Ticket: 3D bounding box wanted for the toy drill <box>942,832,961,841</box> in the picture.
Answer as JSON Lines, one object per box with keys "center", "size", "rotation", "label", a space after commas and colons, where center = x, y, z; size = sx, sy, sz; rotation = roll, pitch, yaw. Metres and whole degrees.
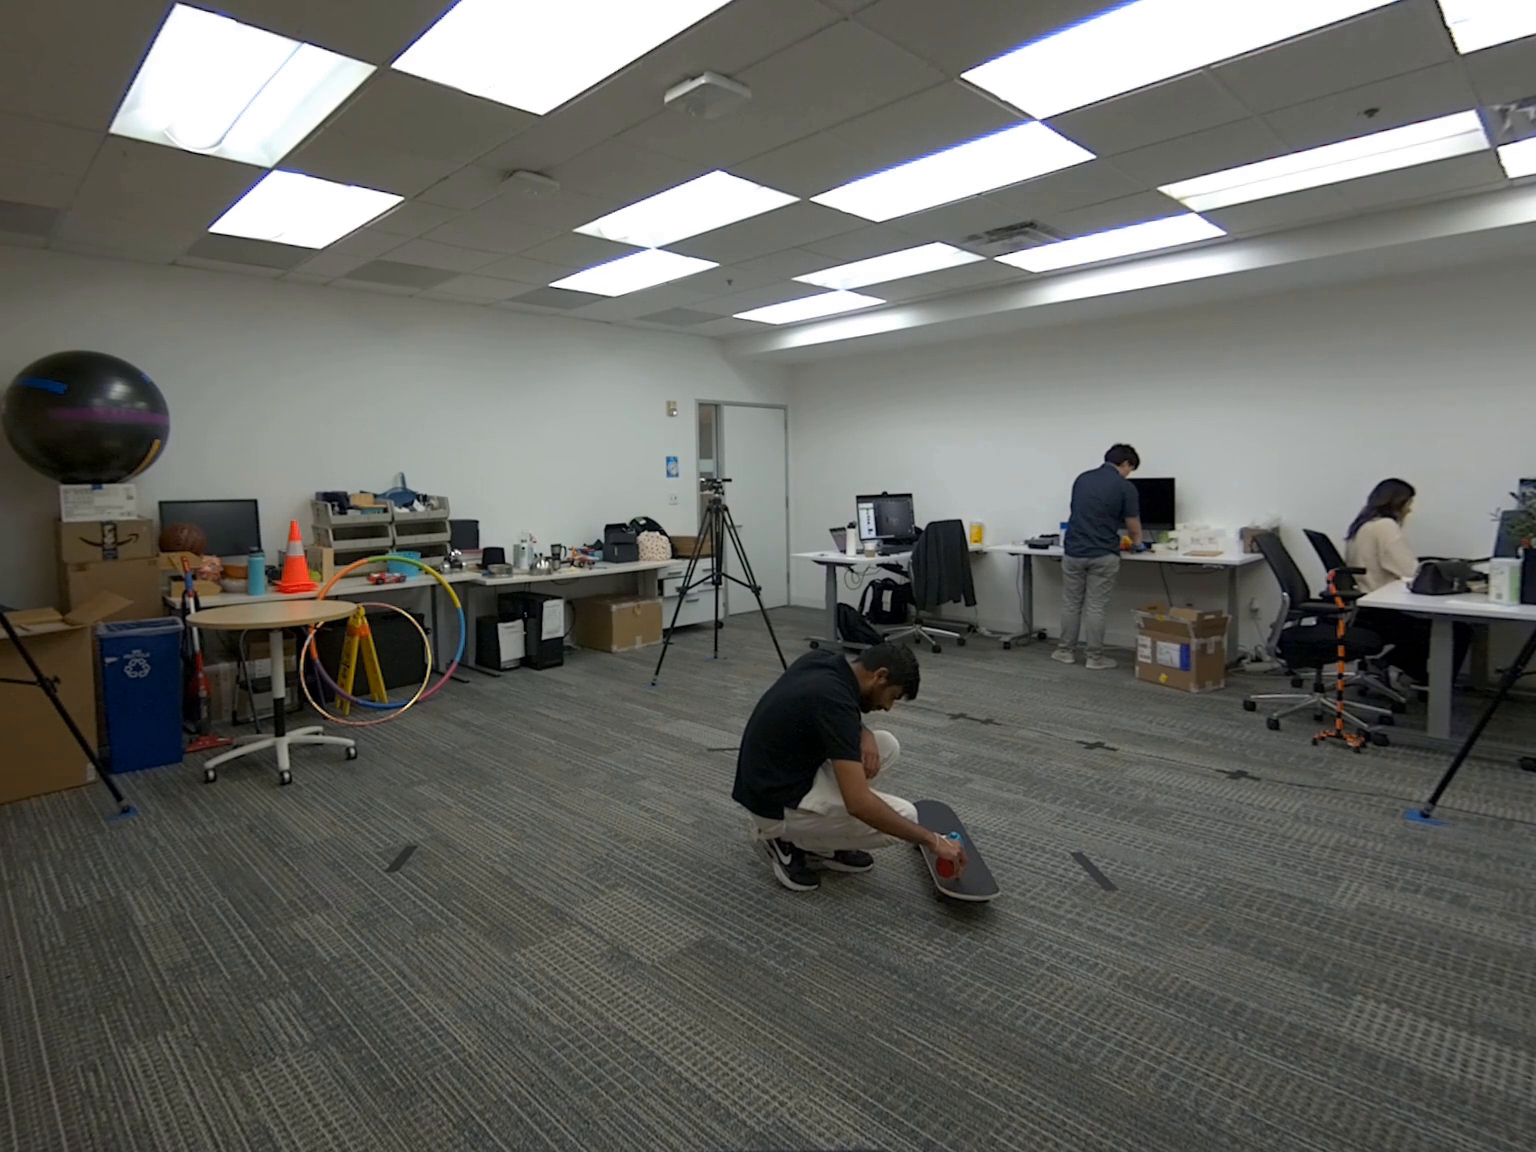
{"center": [0.581, 0.909, 2.733], "size": [0.144, 0.166, 0.063], "rotation": [-28, 26, -38], "label": "toy drill"}
